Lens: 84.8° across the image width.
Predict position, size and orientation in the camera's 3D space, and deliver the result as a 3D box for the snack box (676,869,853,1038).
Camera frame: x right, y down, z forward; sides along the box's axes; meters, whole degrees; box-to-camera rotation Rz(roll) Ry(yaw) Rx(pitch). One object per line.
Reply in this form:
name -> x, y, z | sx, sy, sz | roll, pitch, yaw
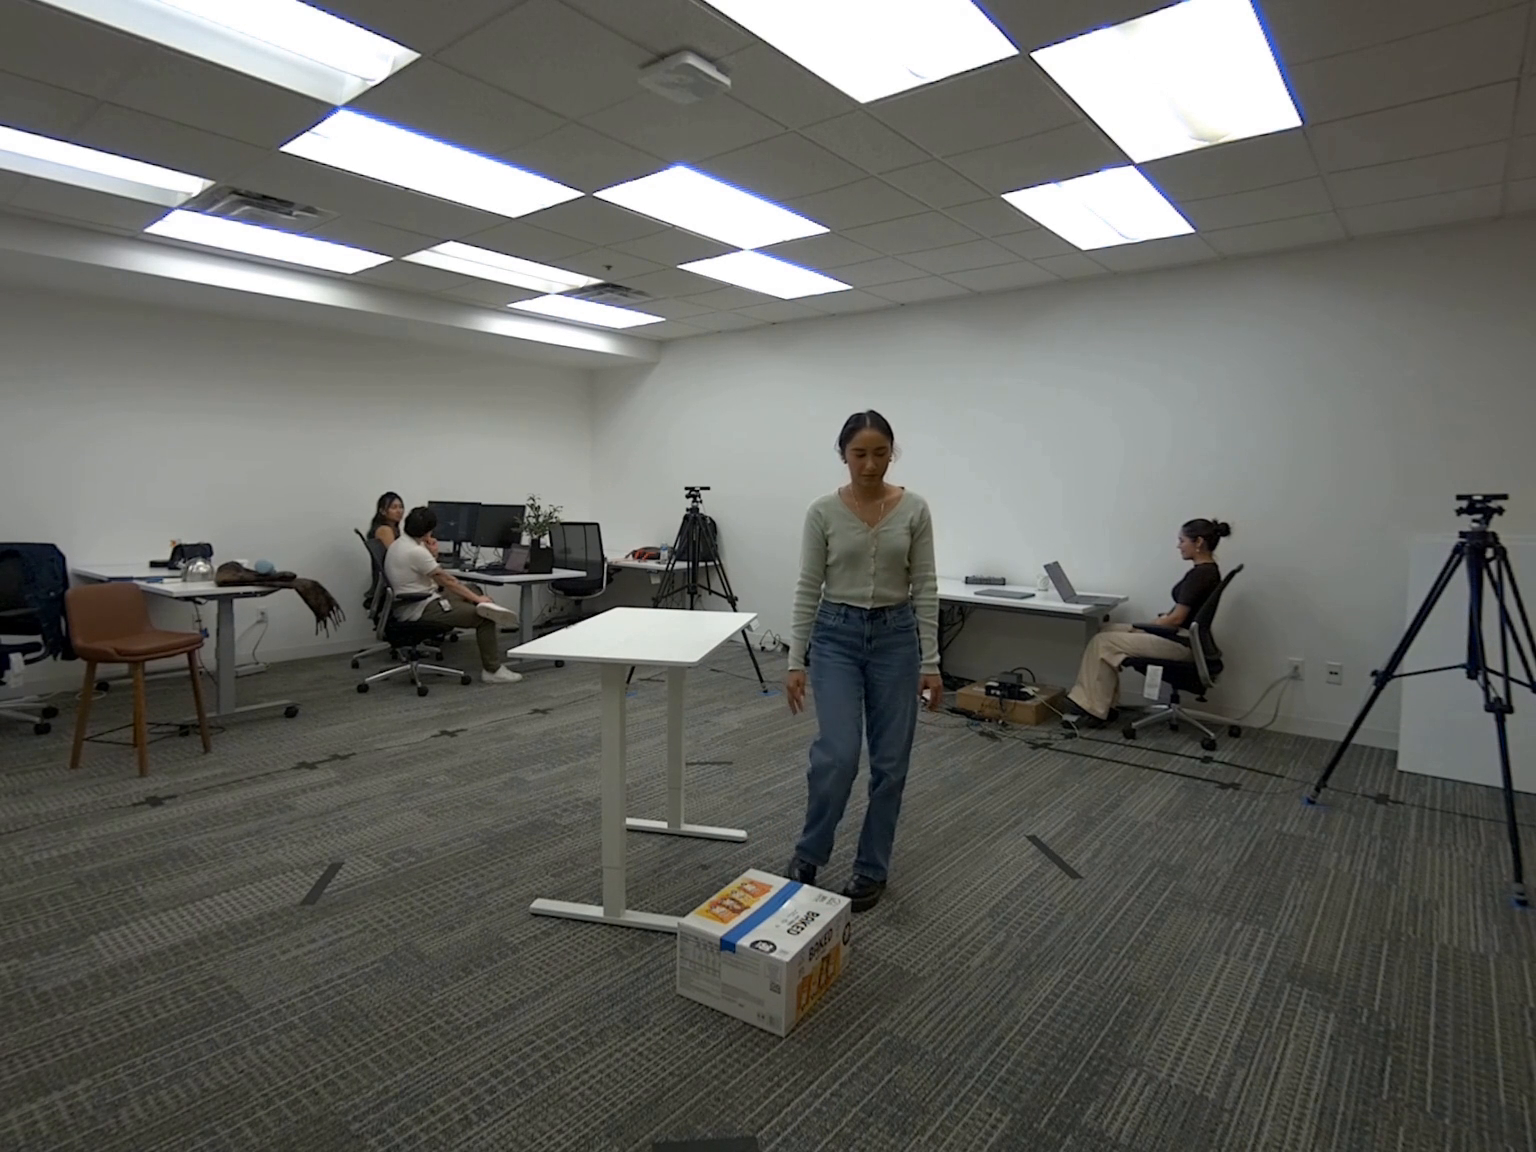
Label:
snack box -> -0.011, 1.041, 2.396 | 0.350, 0.205, 0.395 | 4, 6, 30
